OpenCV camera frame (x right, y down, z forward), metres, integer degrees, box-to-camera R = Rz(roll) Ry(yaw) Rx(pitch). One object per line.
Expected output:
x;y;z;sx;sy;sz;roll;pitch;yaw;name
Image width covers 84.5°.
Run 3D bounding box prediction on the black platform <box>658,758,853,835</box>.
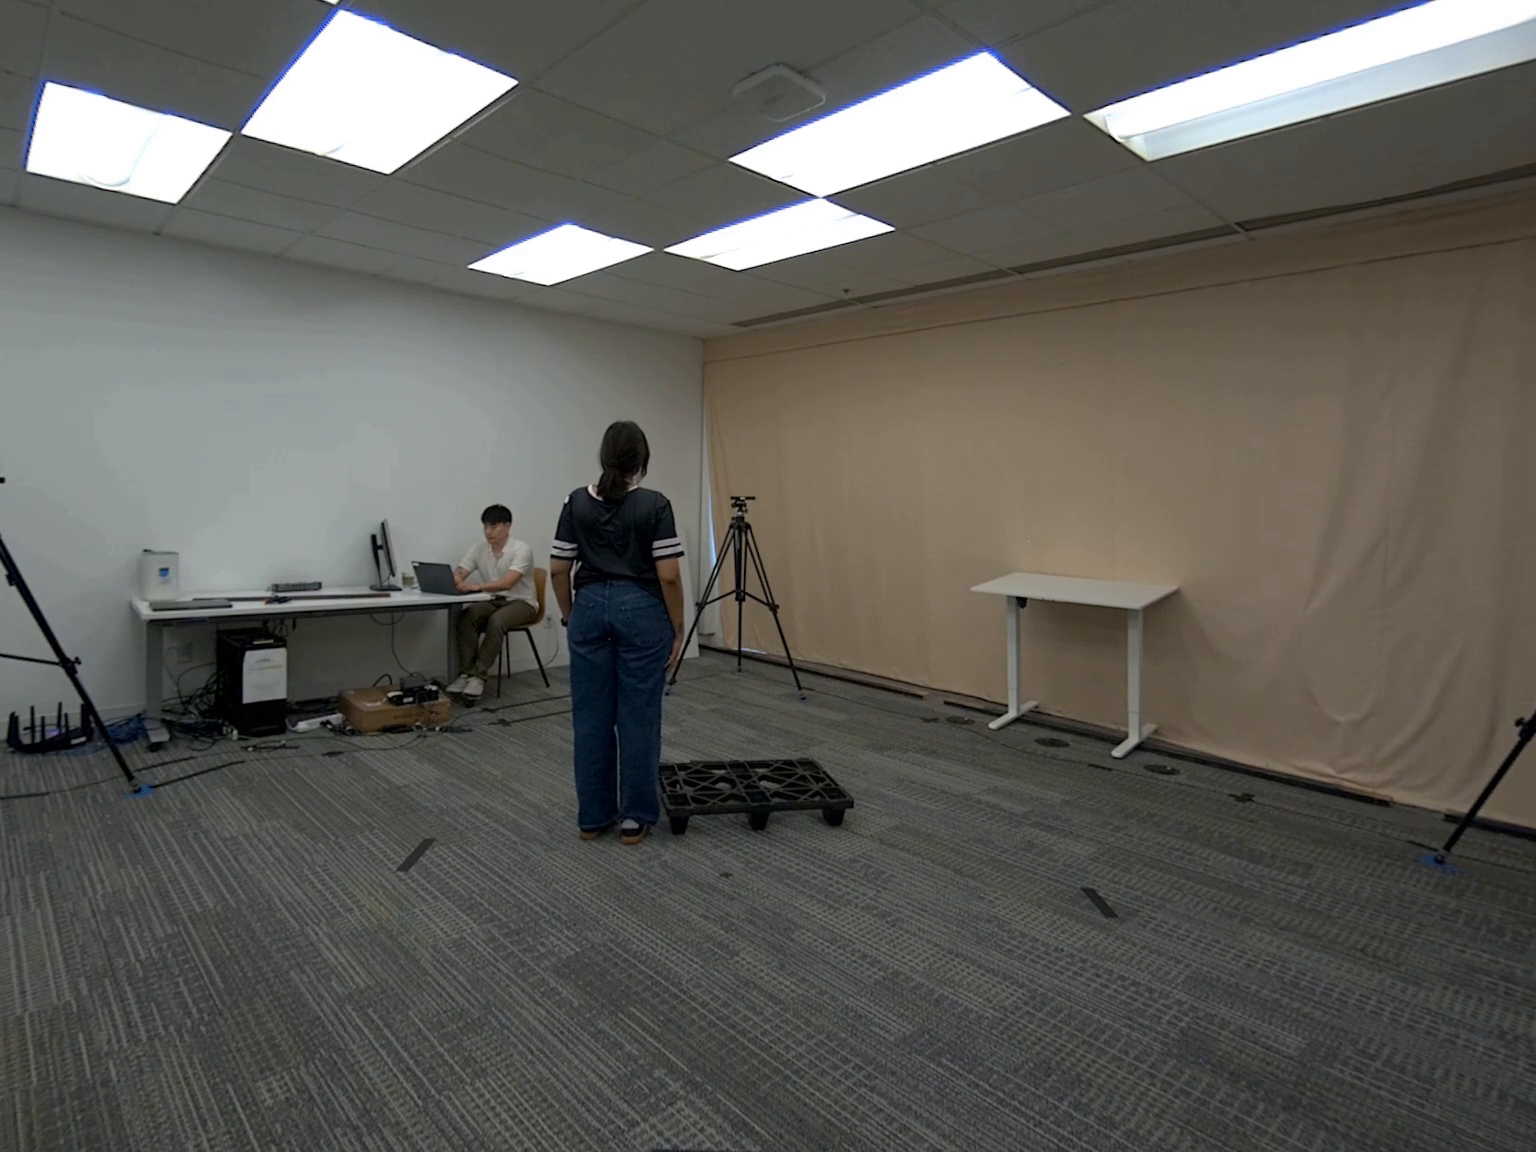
-0.095;0.981;3.766;0.798;0.143;0.613;0;5;-12;black platform
